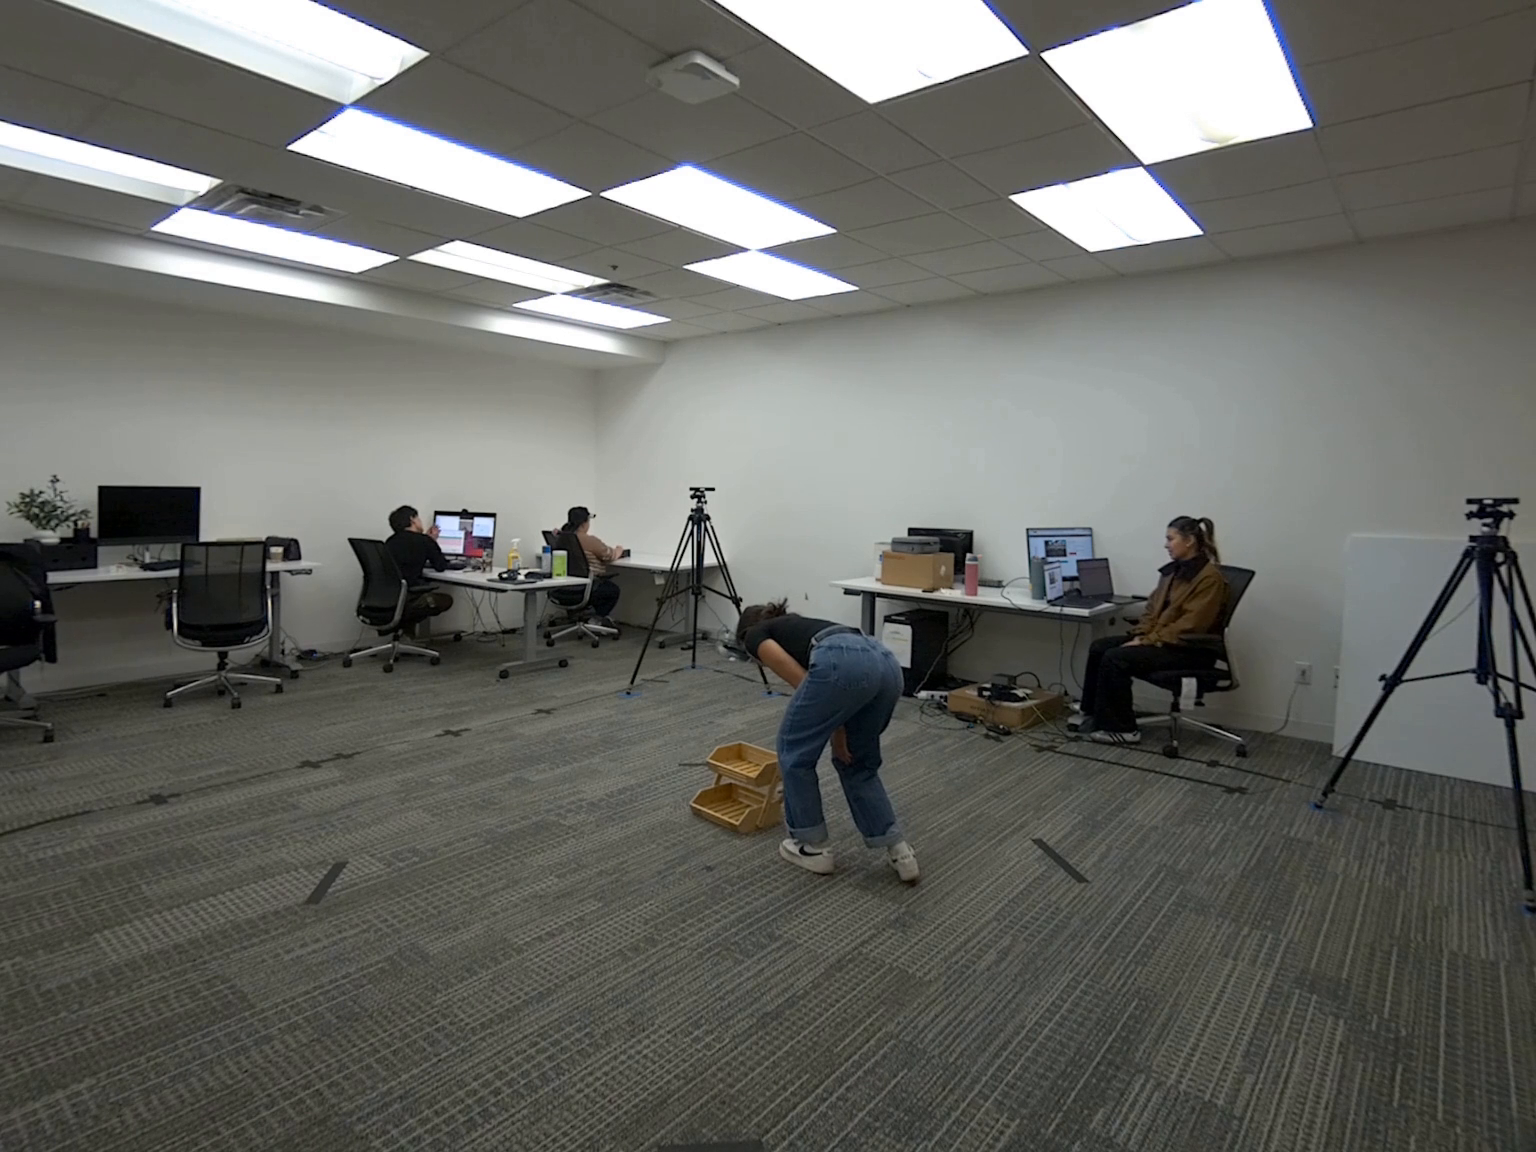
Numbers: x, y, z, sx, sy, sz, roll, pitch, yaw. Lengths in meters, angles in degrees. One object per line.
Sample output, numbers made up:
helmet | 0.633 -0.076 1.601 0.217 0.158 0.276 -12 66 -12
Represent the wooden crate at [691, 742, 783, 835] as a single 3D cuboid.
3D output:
wooden crate | -0.130 0.883 3.611 0.293 0.272 0.336 -3 6 -45
